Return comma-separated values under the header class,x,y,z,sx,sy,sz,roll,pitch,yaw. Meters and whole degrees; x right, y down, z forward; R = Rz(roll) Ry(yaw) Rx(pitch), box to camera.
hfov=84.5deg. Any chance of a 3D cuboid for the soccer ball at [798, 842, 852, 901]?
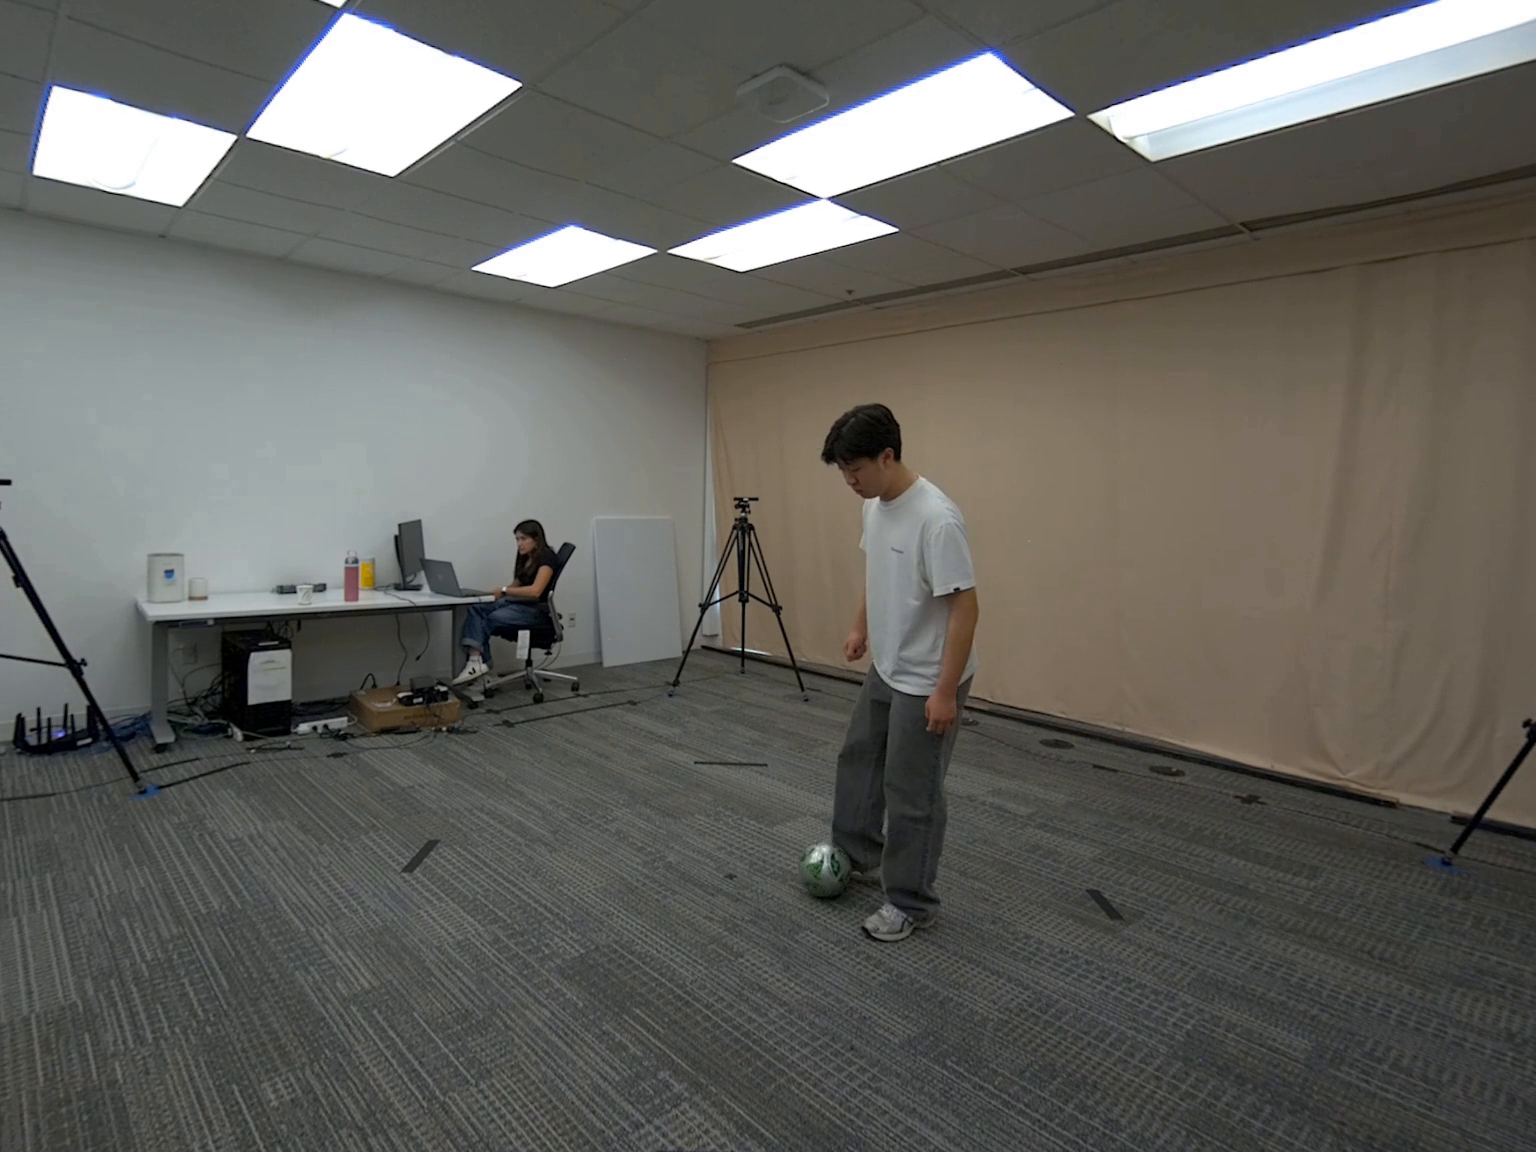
class,x,y,z,sx,sy,sz,roll,pitch,yaw
soccer ball,0.194,1.032,2.969,0.187,0.187,0.188,1,4,-1
